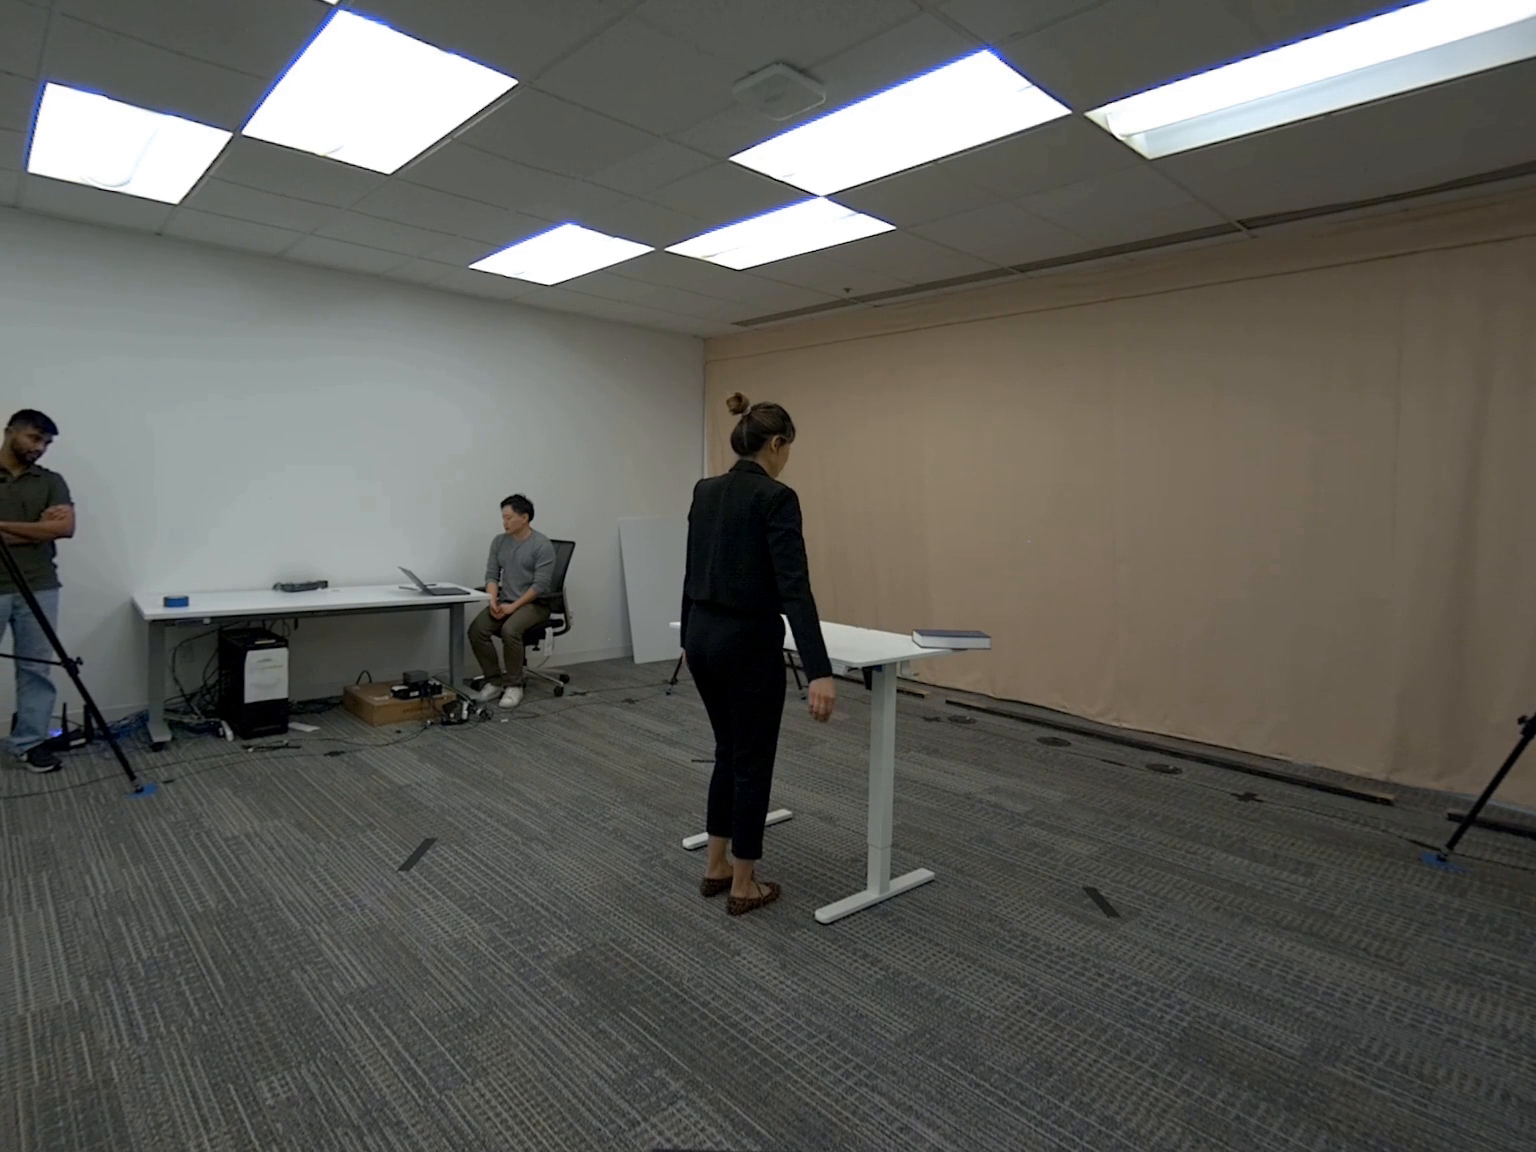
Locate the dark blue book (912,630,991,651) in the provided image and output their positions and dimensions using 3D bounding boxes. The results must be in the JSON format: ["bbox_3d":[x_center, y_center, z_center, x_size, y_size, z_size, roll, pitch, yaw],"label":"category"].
[{"bbox_3d":[0.643,0.223,2.999,0.245,0.045,0.163,1,5,1],"label":"dark blue book"}]
